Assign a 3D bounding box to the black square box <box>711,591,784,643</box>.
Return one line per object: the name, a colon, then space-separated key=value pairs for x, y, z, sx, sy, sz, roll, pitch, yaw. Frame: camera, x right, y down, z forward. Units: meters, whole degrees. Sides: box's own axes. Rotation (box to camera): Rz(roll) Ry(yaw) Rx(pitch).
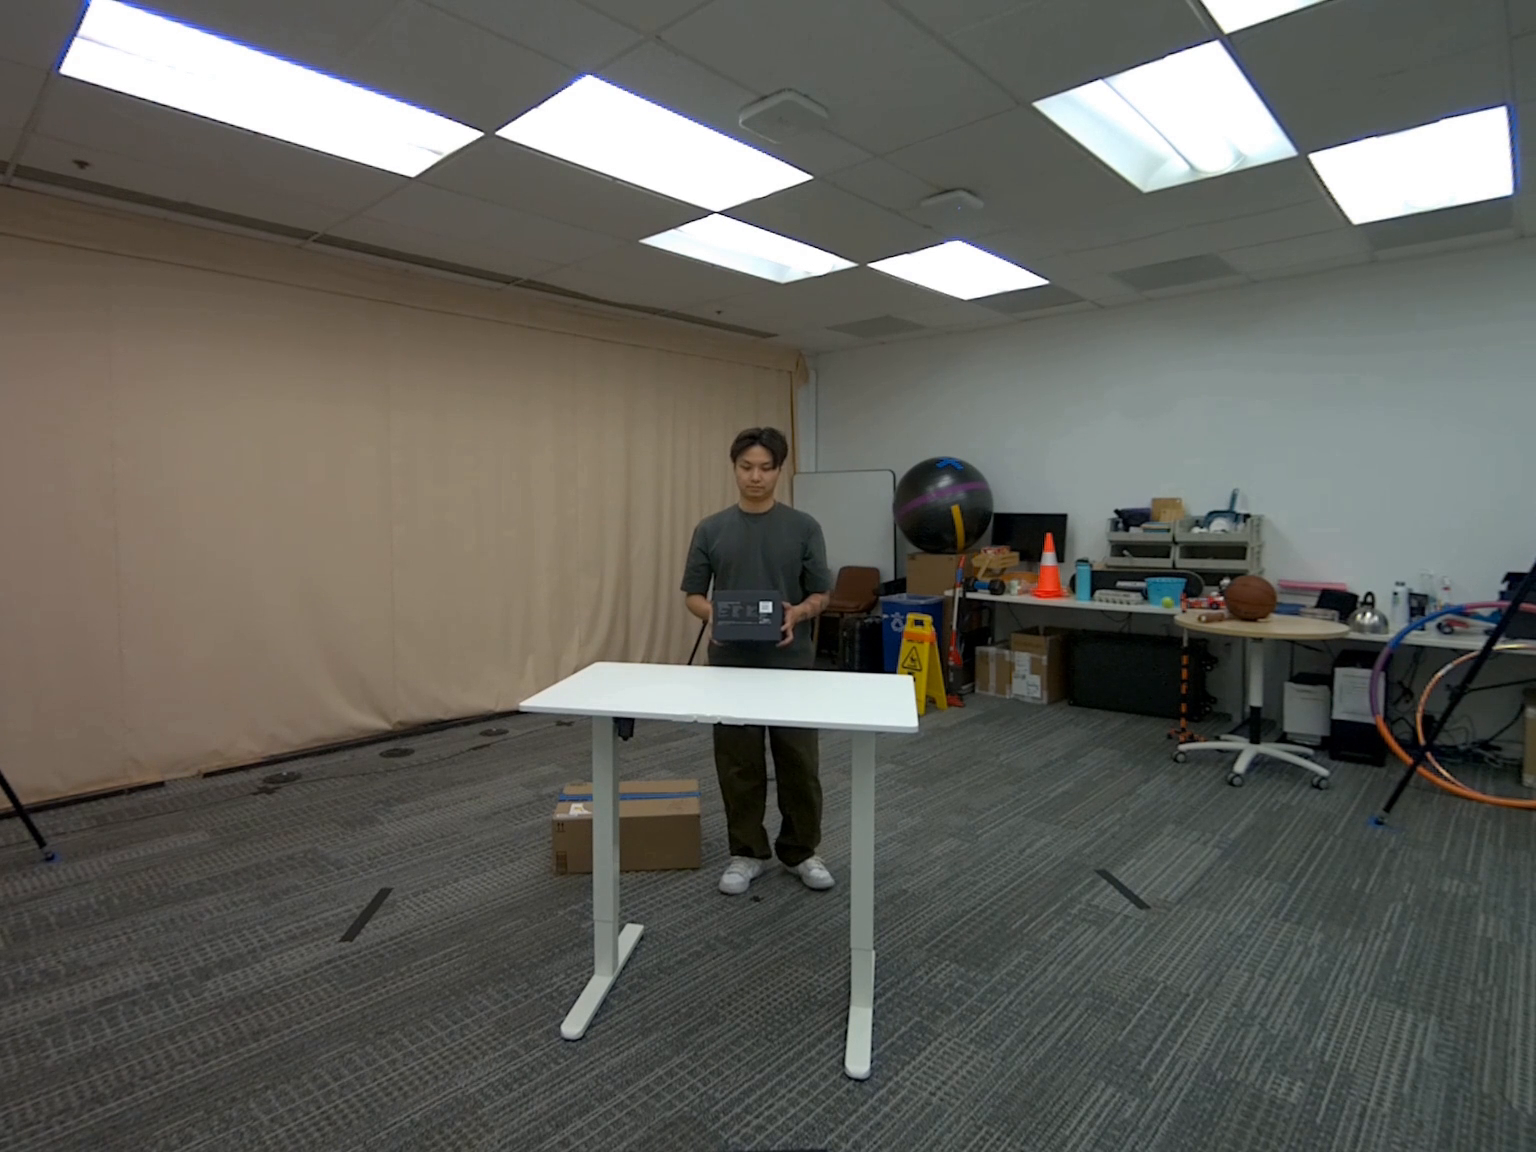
black square box: x=-0.067 y=0.128 z=2.786 sx=0.217 sy=0.156 sz=0.227 roll=-1 pitch=-5 yaw=0
